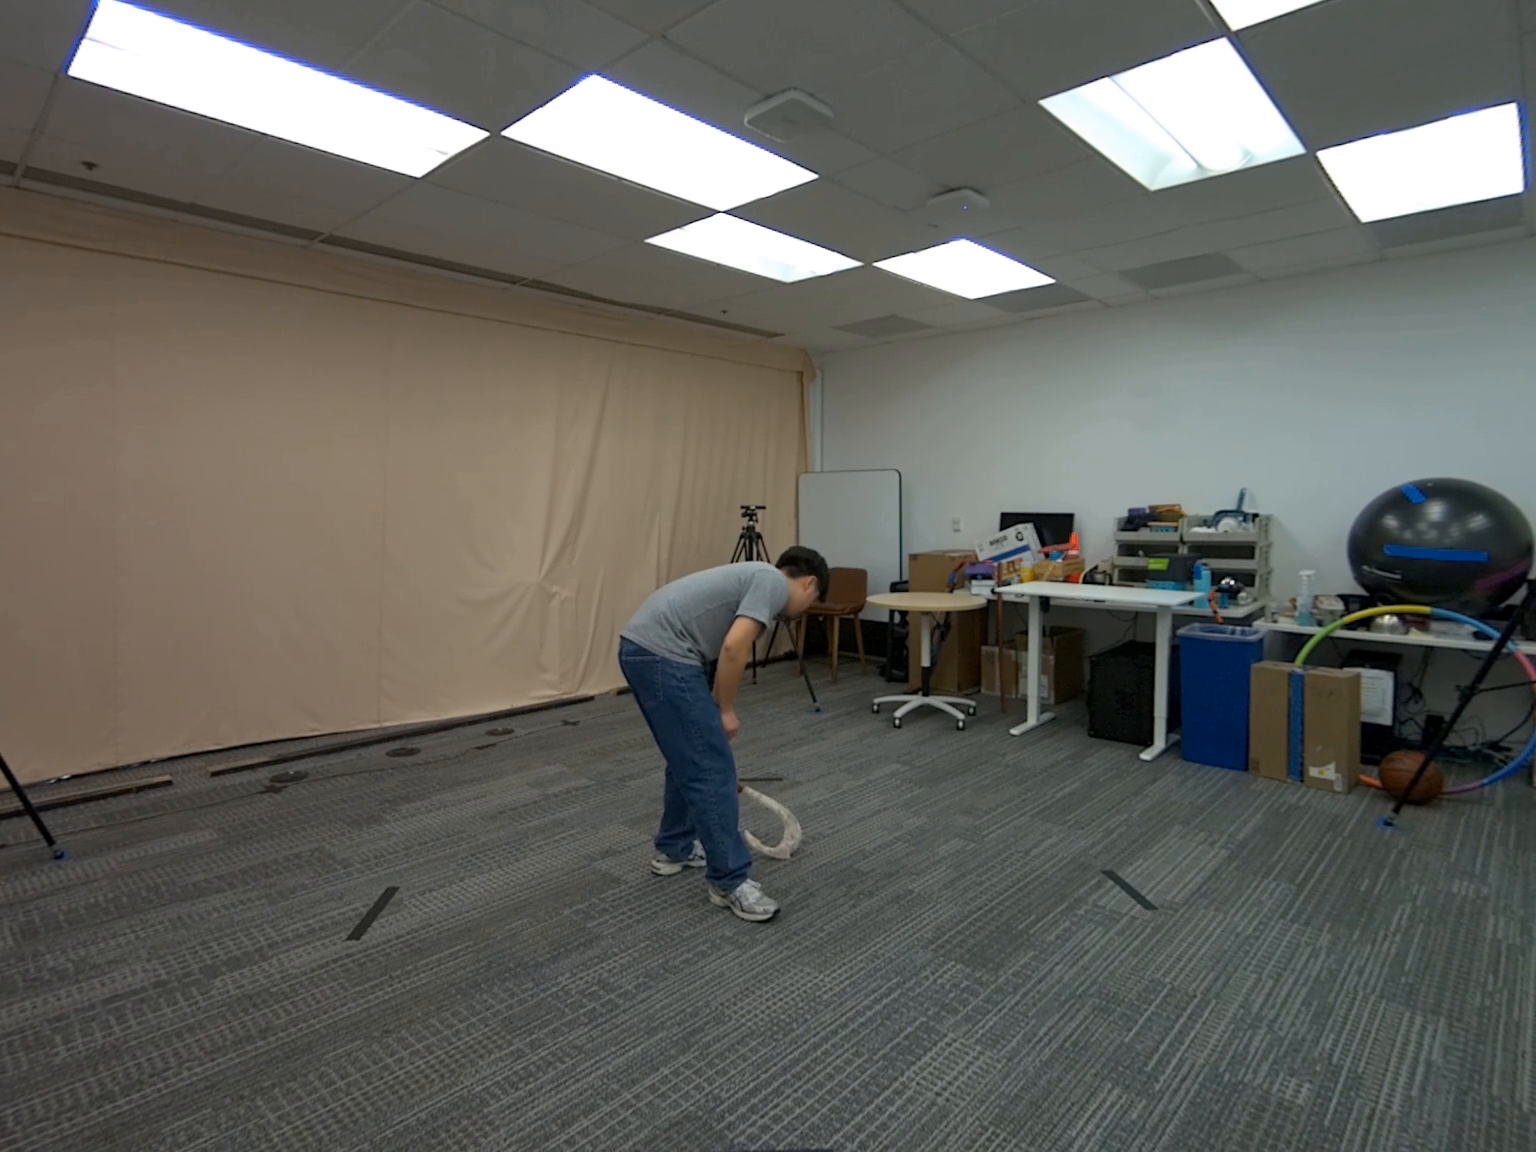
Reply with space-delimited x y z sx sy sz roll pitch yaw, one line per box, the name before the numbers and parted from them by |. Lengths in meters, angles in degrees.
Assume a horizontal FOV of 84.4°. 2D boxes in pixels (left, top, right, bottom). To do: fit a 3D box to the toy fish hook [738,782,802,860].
toy fish hook | -0.077 0.933 3.397 0.516 0.048 0.221 38 47 14
